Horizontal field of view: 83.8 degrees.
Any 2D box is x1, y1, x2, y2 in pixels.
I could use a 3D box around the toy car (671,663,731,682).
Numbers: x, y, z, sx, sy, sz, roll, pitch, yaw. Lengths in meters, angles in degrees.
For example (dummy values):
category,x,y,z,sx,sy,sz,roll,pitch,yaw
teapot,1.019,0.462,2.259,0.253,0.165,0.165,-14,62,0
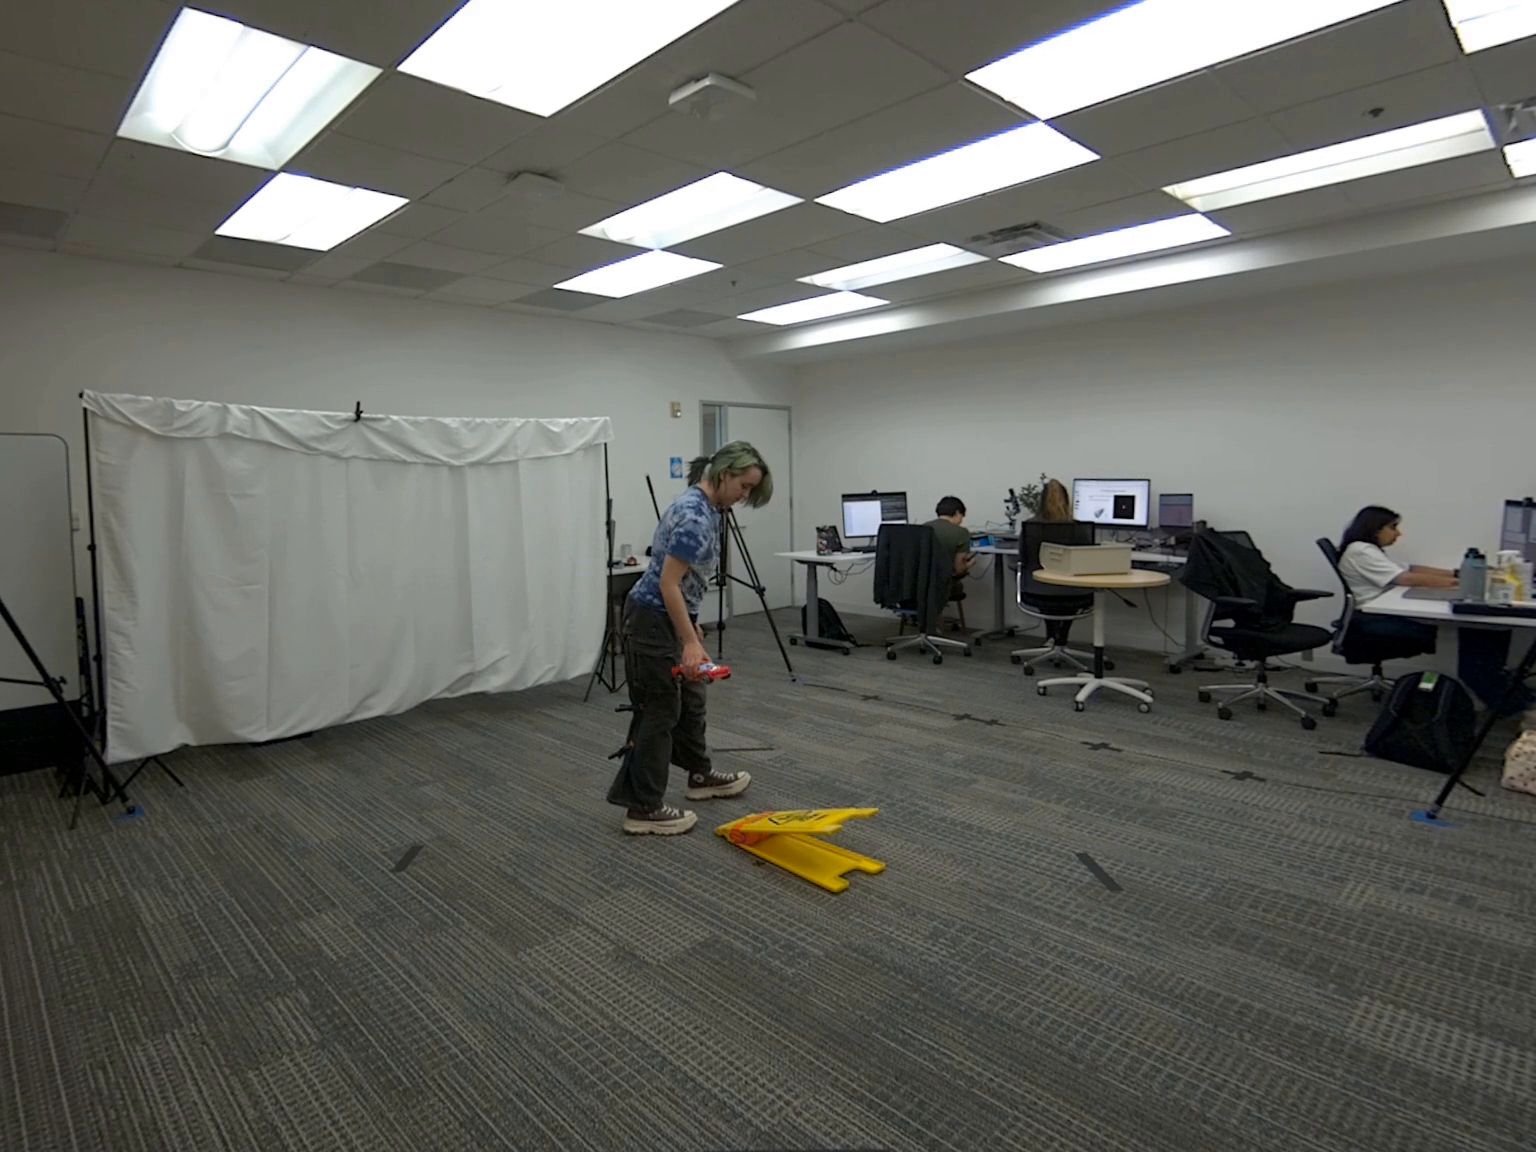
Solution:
category,x,y,z,sx,sy,sz,roll,pitch,yaw
toy car,-0.260,0.367,3.236,0.127,0.082,0.263,-10,13,-43
